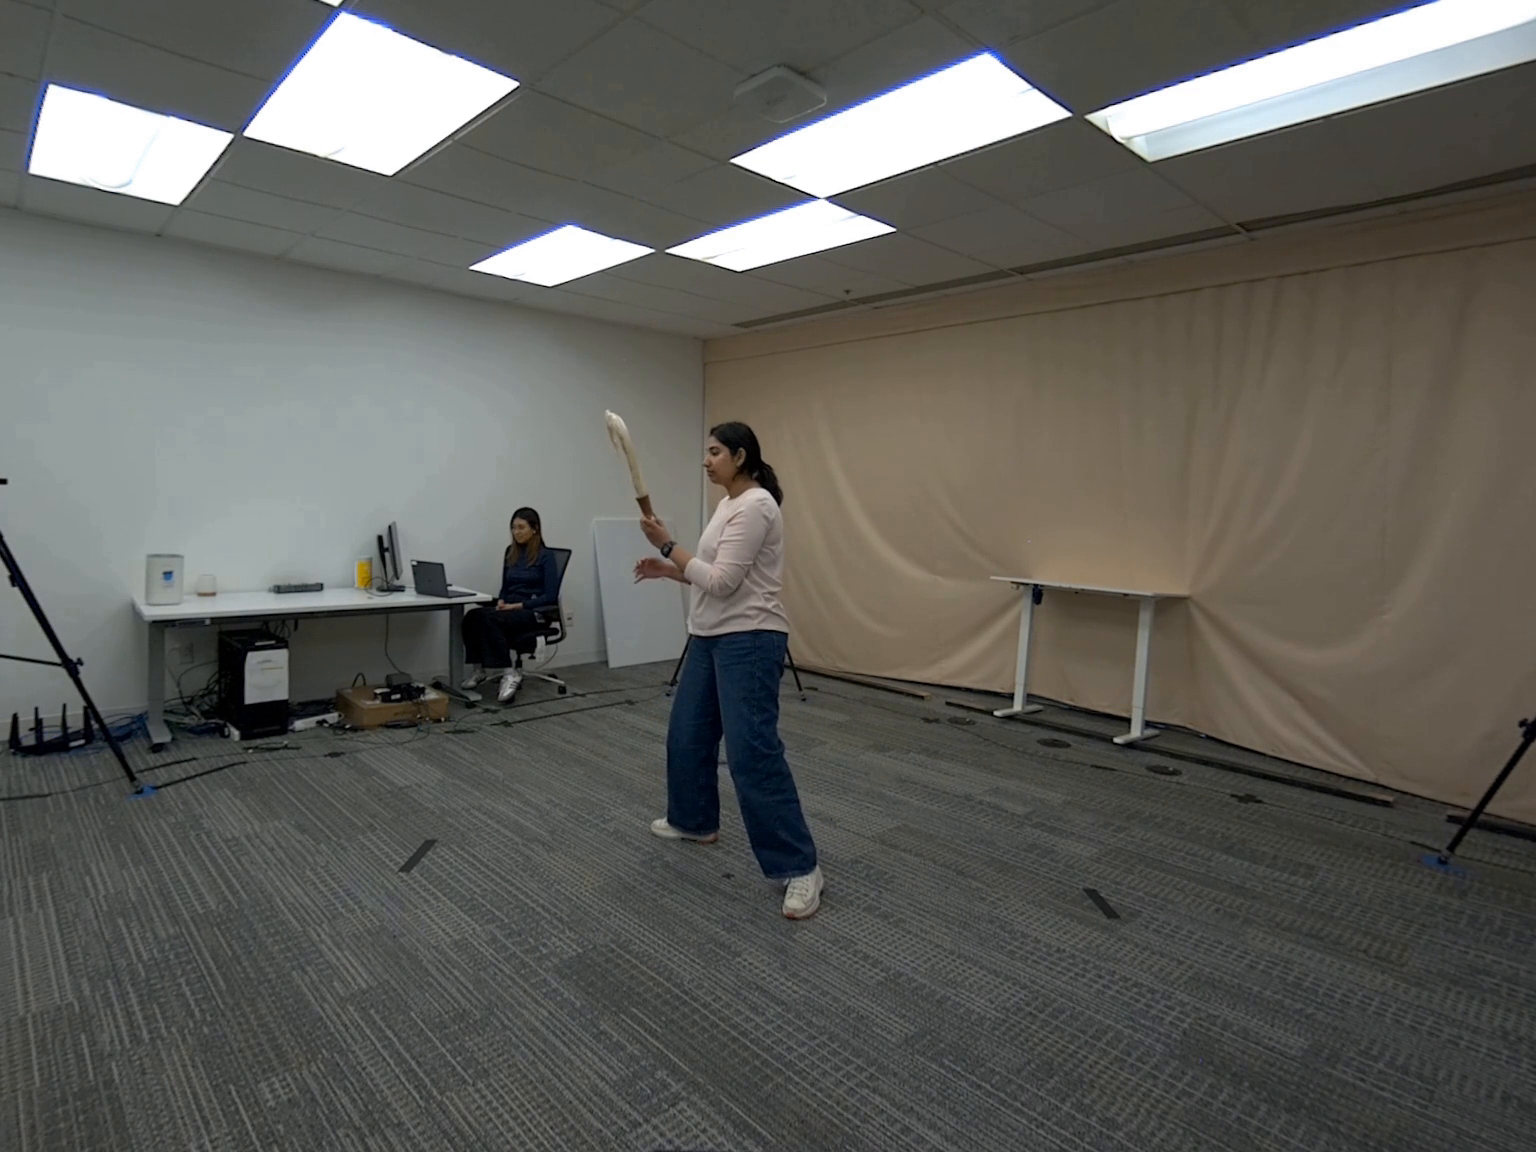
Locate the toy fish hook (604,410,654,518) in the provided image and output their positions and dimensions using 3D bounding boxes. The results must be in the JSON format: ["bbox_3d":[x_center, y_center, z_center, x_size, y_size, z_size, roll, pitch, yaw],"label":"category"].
[{"bbox_3d":[-0.489,-0.349,3.006,0.048,0.496,0.231,-22,27,-13],"label":"toy fish hook"}]
